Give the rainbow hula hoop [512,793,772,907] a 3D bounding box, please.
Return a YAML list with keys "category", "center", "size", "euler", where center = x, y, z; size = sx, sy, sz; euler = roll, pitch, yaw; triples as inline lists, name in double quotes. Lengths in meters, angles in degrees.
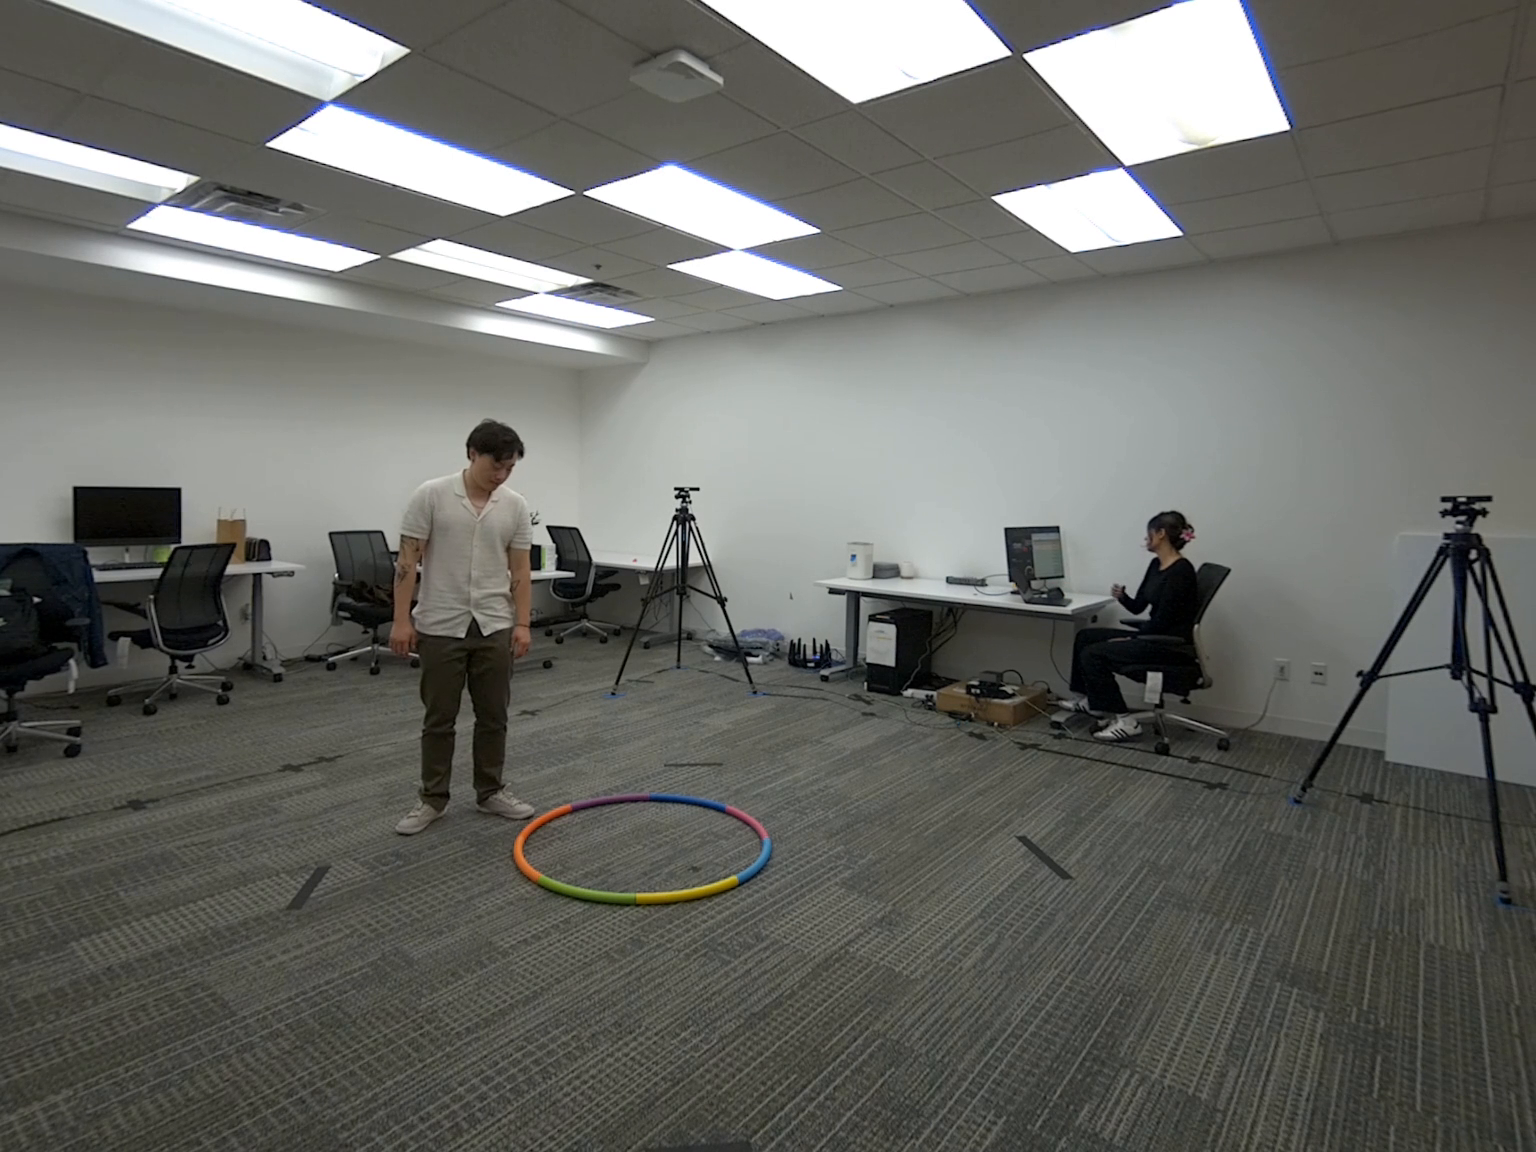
- category: "rainbow hula hoop"
  center: [-0.487, 1.013, 3.298]
  size: [0.978, 0.035, 0.984]
  euler: [1, 5, -2]
